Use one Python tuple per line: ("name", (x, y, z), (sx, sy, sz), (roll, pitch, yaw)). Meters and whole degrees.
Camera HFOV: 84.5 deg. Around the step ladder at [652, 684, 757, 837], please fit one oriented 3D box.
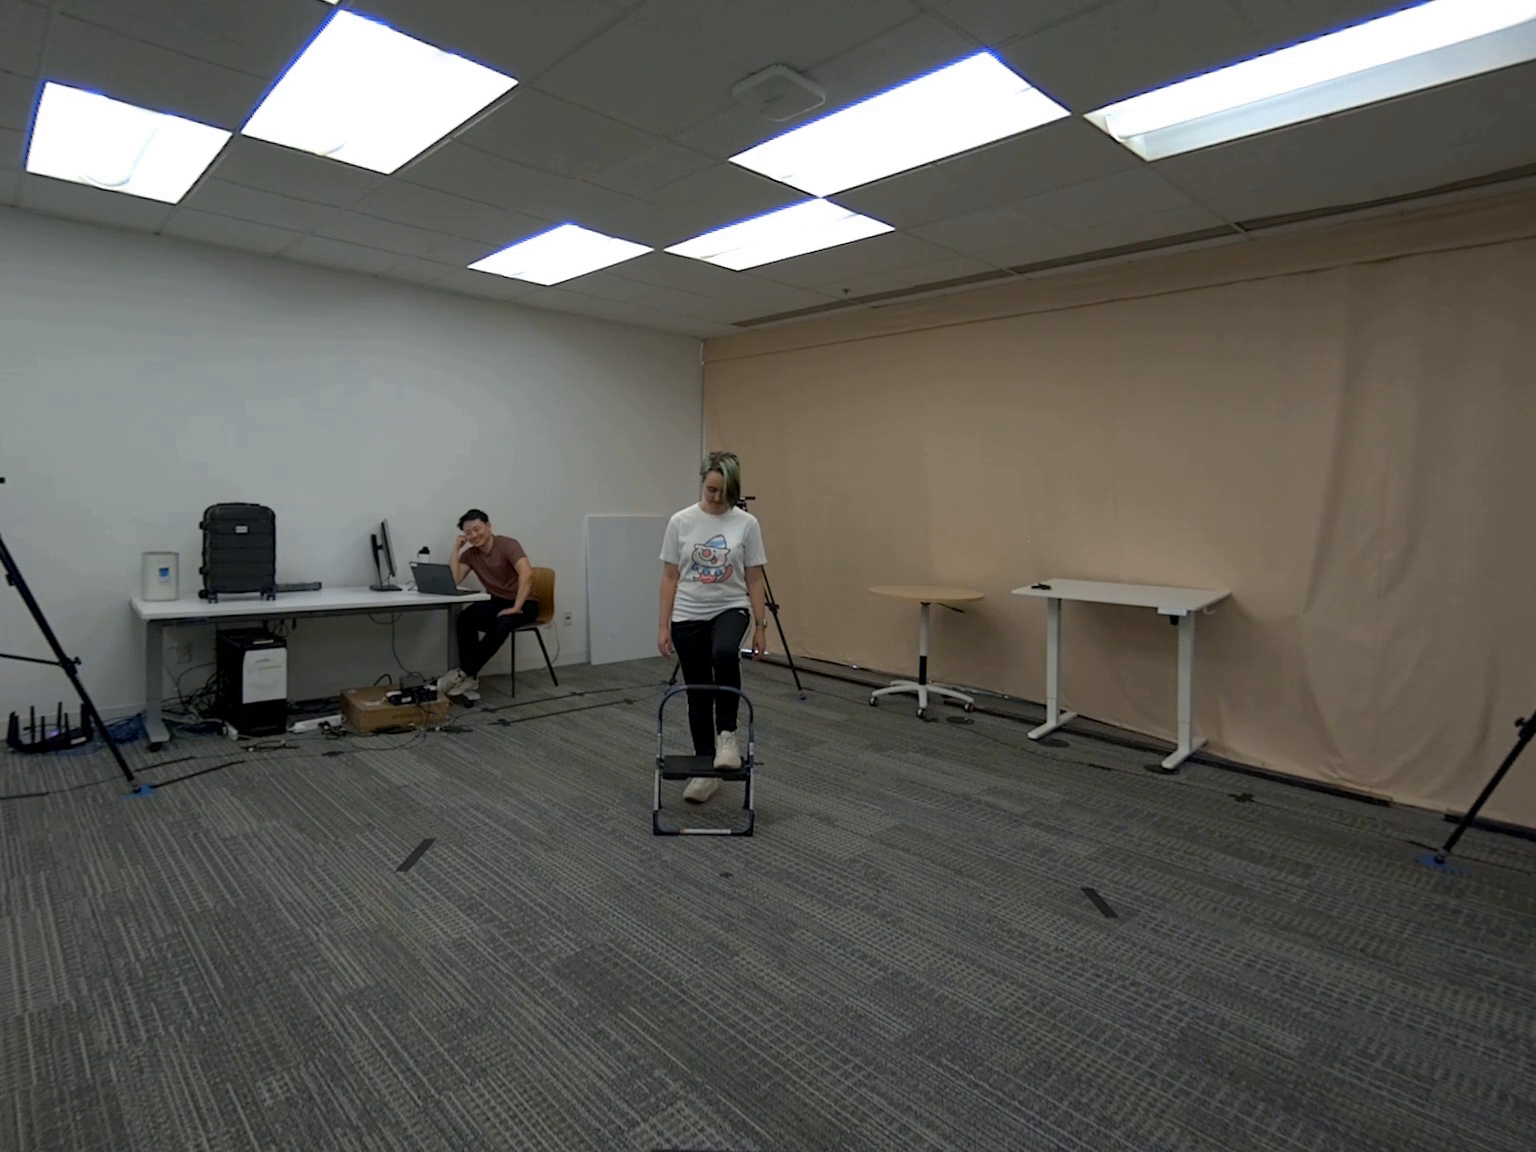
("step ladder", (-0.284, 0.759, 3.616), (0.429, 0.605, 0.351), (1, 3, -4))
